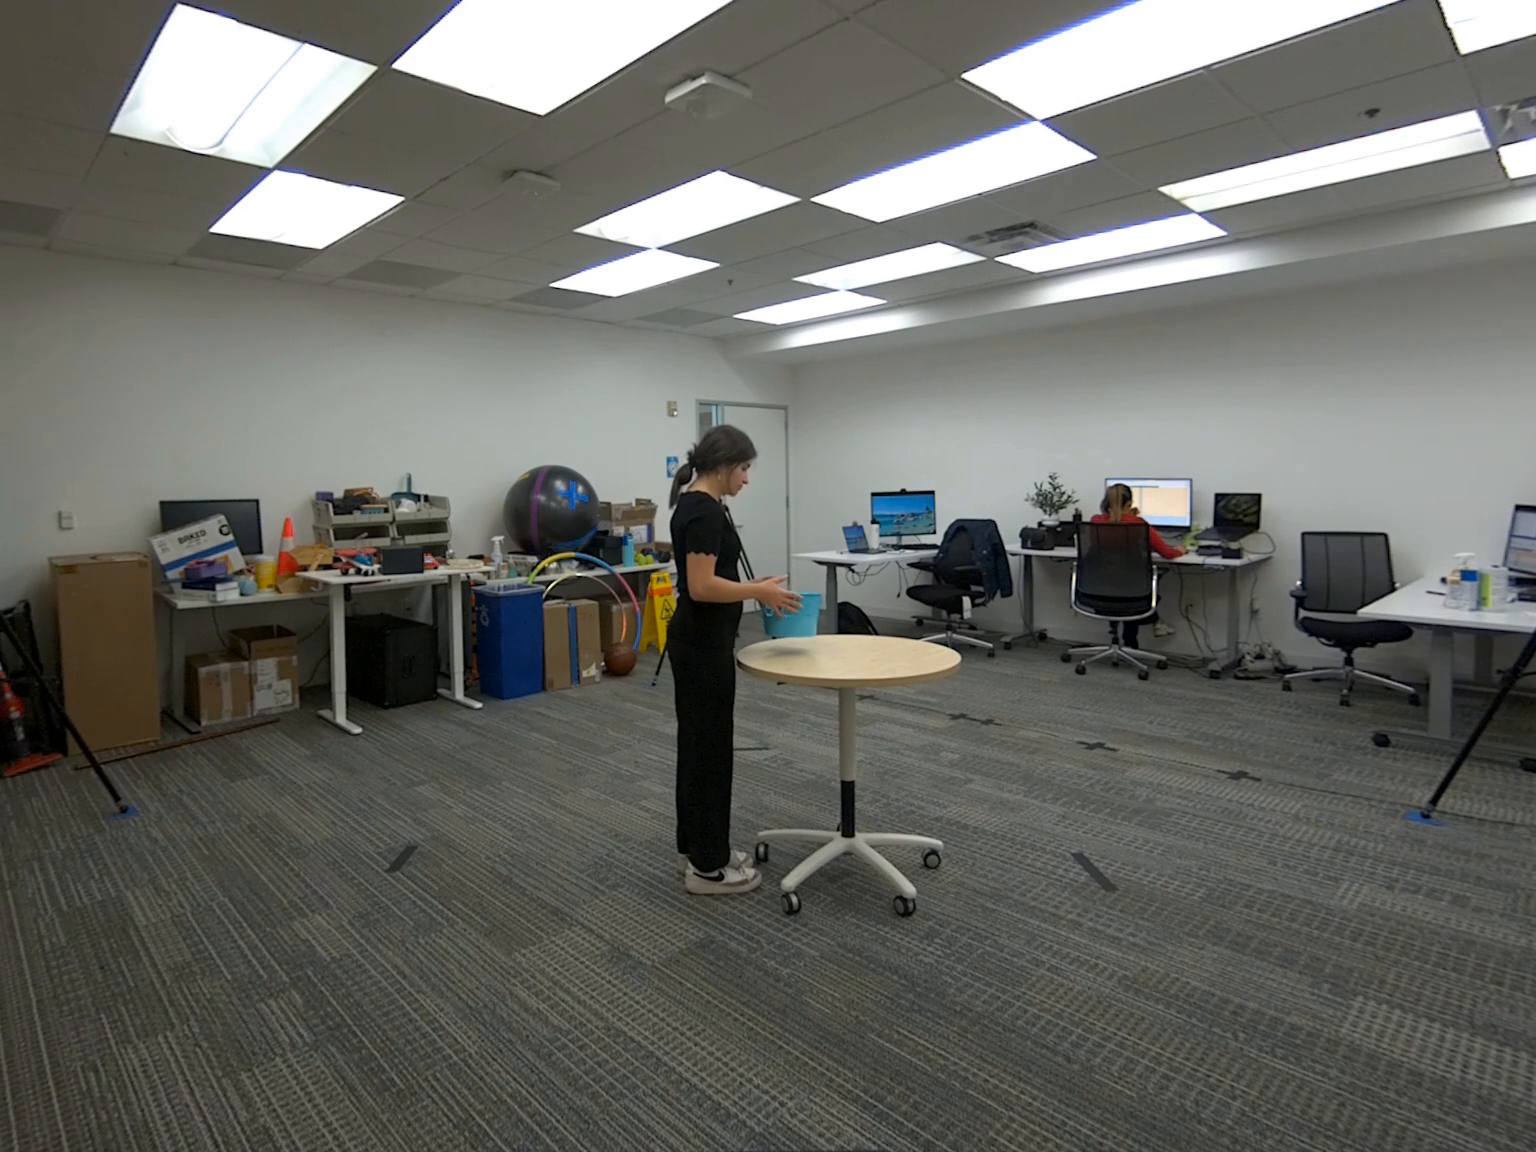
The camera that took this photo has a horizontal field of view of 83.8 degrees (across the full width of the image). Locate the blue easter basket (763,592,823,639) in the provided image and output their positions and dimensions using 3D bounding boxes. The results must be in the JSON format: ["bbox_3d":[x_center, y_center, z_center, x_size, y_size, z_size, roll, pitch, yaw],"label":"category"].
[{"bbox_3d":[0.081,0.132,3.037,0.243,0.156,0.244,2,1,-2],"label":"blue easter basket"}]
